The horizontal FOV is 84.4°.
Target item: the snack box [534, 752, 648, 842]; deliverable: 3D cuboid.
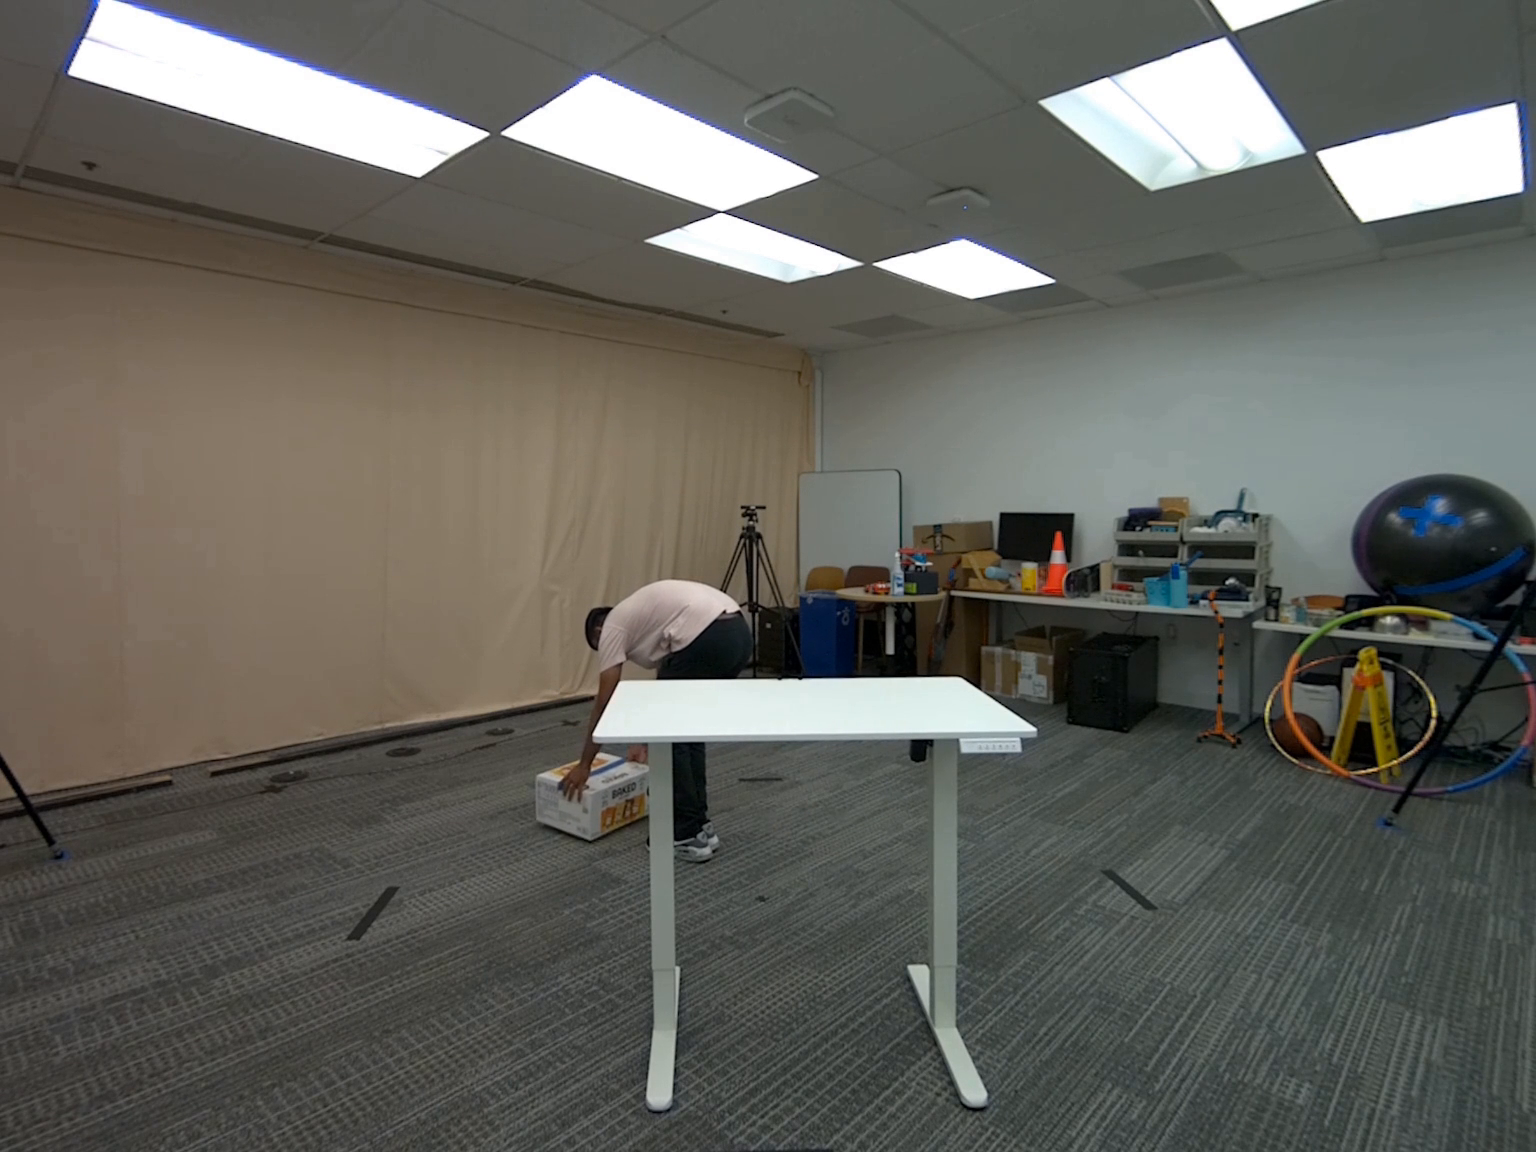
[{"bbox_3d":[-0.762,0.962,3.714,0.351,0.205,0.394,5,7,35],"label":"snack box"}]
